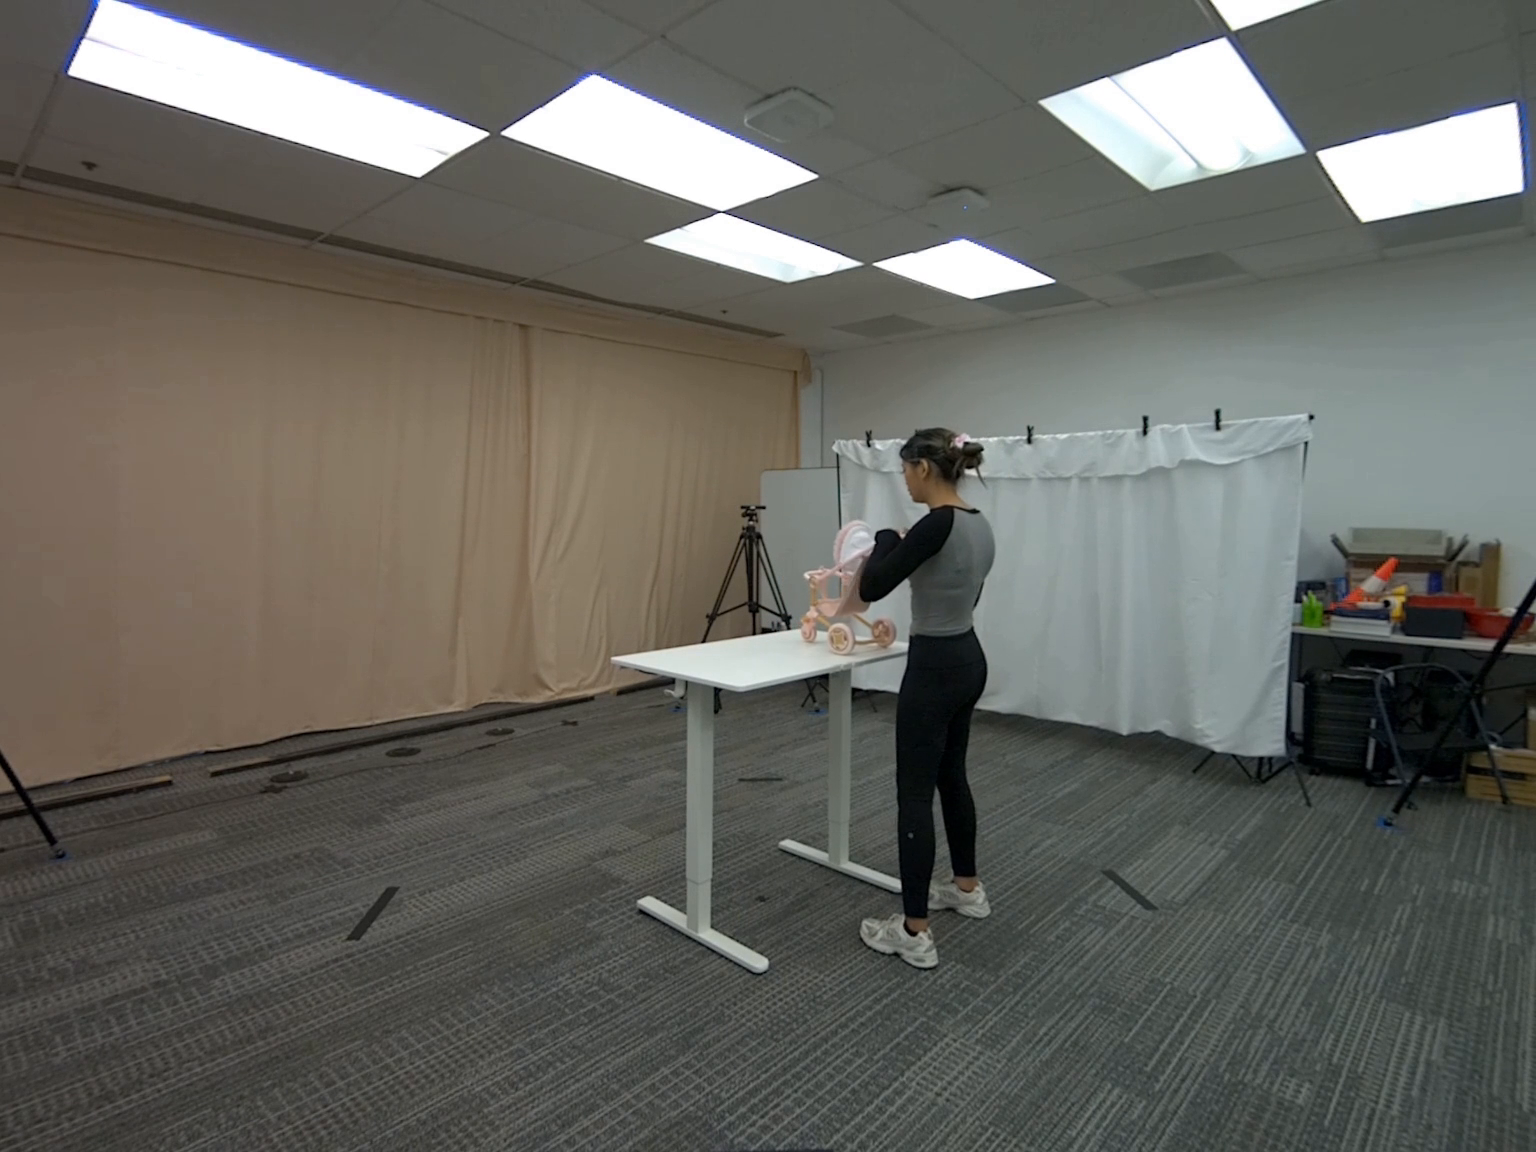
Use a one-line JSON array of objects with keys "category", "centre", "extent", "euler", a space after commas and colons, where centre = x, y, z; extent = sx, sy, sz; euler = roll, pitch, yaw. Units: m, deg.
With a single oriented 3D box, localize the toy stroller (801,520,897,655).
[{"category": "toy stroller", "centre": [0.299, 0.040, 2.991], "extent": [0.273, 0.531, 0.354], "euler": [-3, 22, -41]}]
